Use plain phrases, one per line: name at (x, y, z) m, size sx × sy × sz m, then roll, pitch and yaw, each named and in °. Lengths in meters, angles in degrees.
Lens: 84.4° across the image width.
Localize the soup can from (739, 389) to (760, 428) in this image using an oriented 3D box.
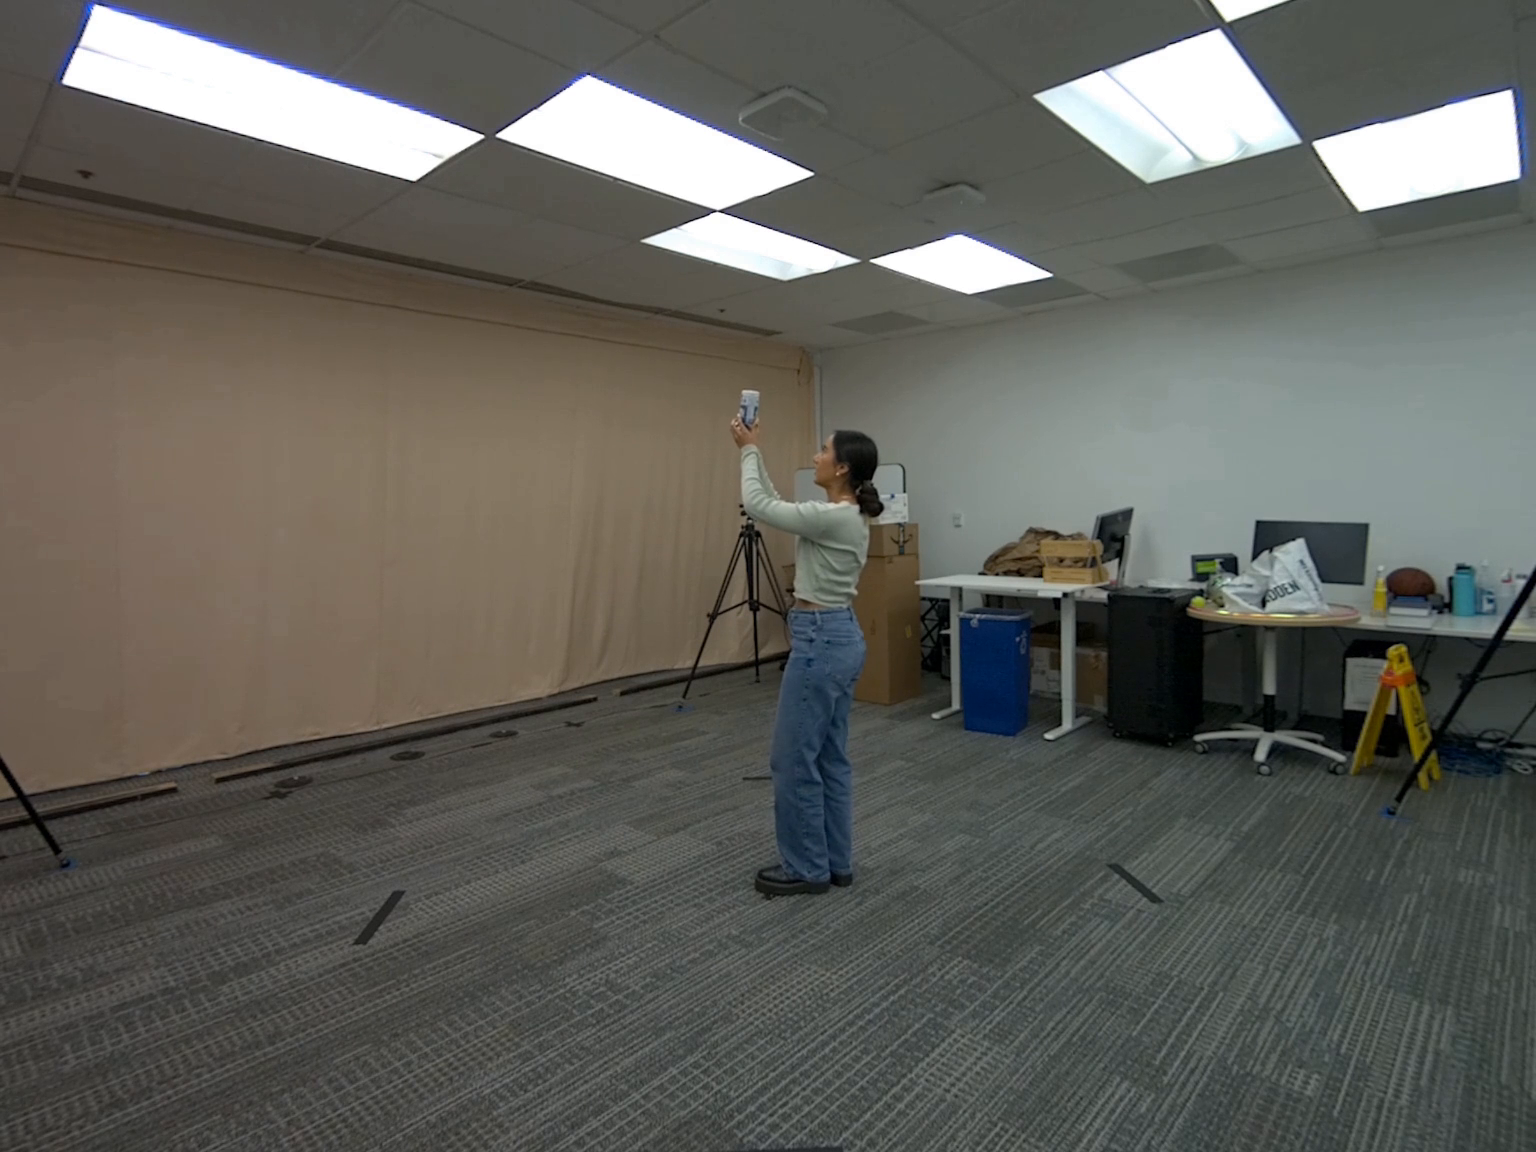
soup can at (-0.071, -0.627, 3.136) m, size 0.067 × 0.121 × 0.068 m, roll 6°, pitch 12°, yaw -3°
